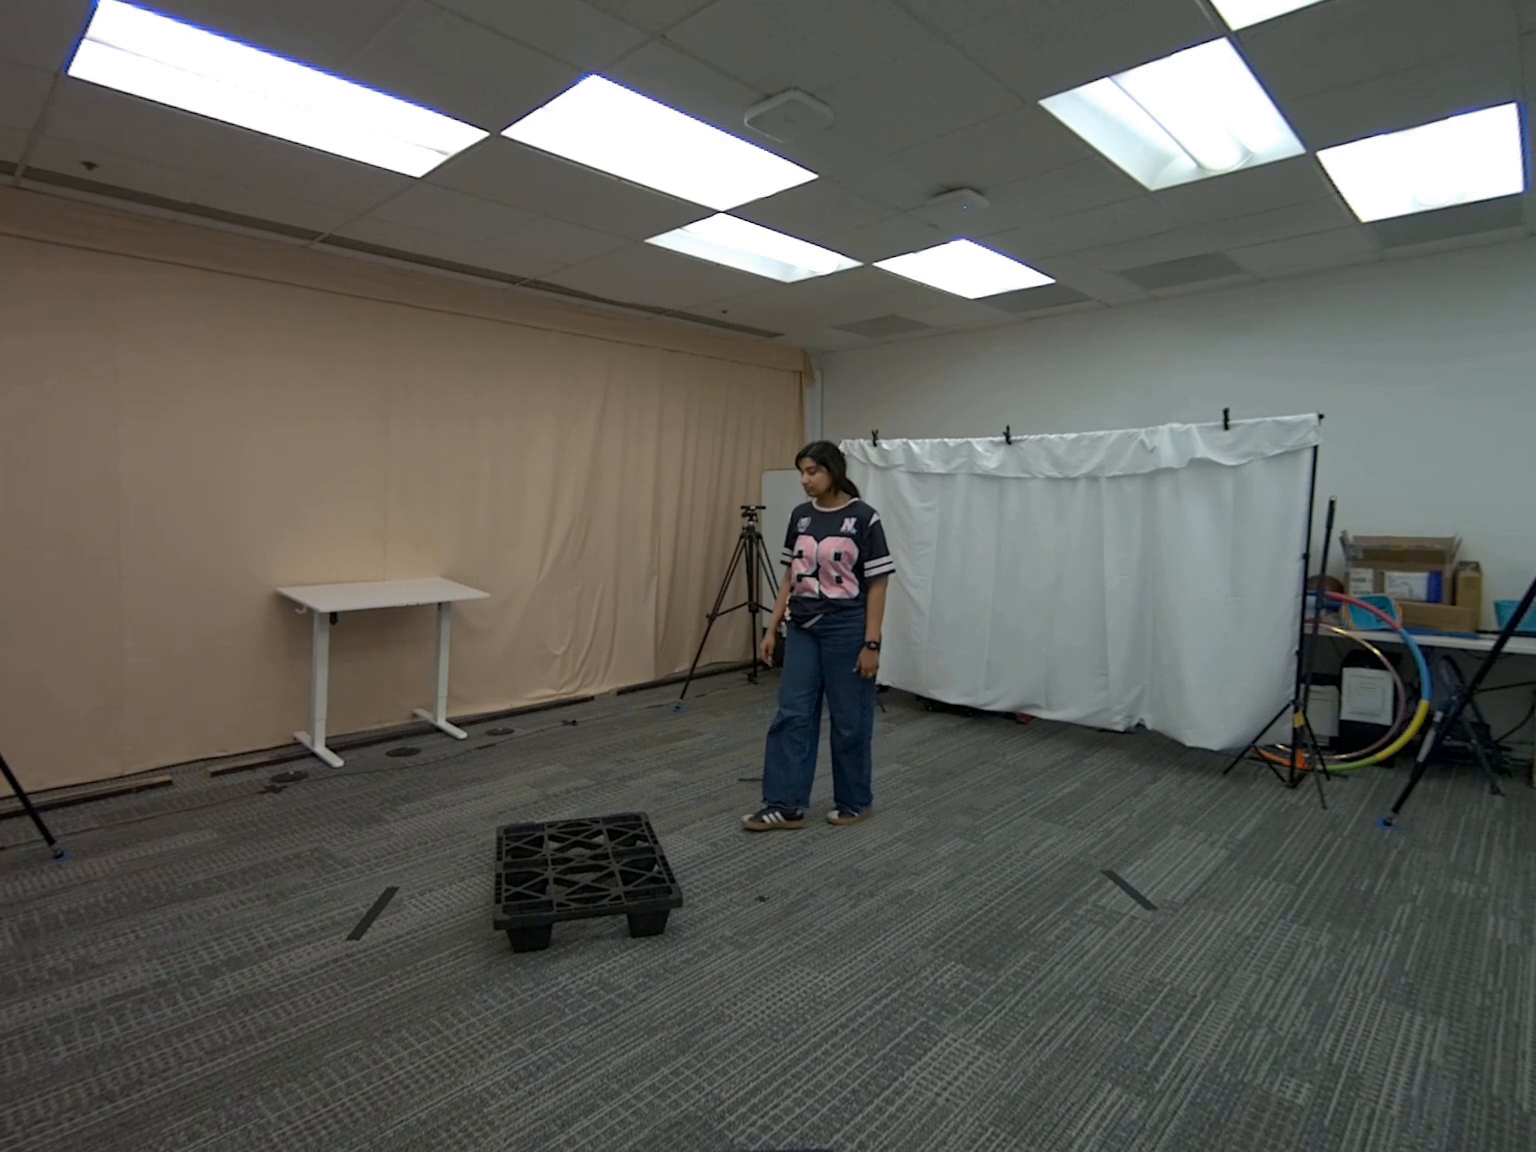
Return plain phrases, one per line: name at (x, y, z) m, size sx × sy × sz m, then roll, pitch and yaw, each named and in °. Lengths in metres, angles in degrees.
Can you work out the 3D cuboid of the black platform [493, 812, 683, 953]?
black platform at (-0.673, 1.080, 3.033) m, size 0.596 × 0.143 × 0.820 m, roll -1°, pitch 5°, yaw -16°
